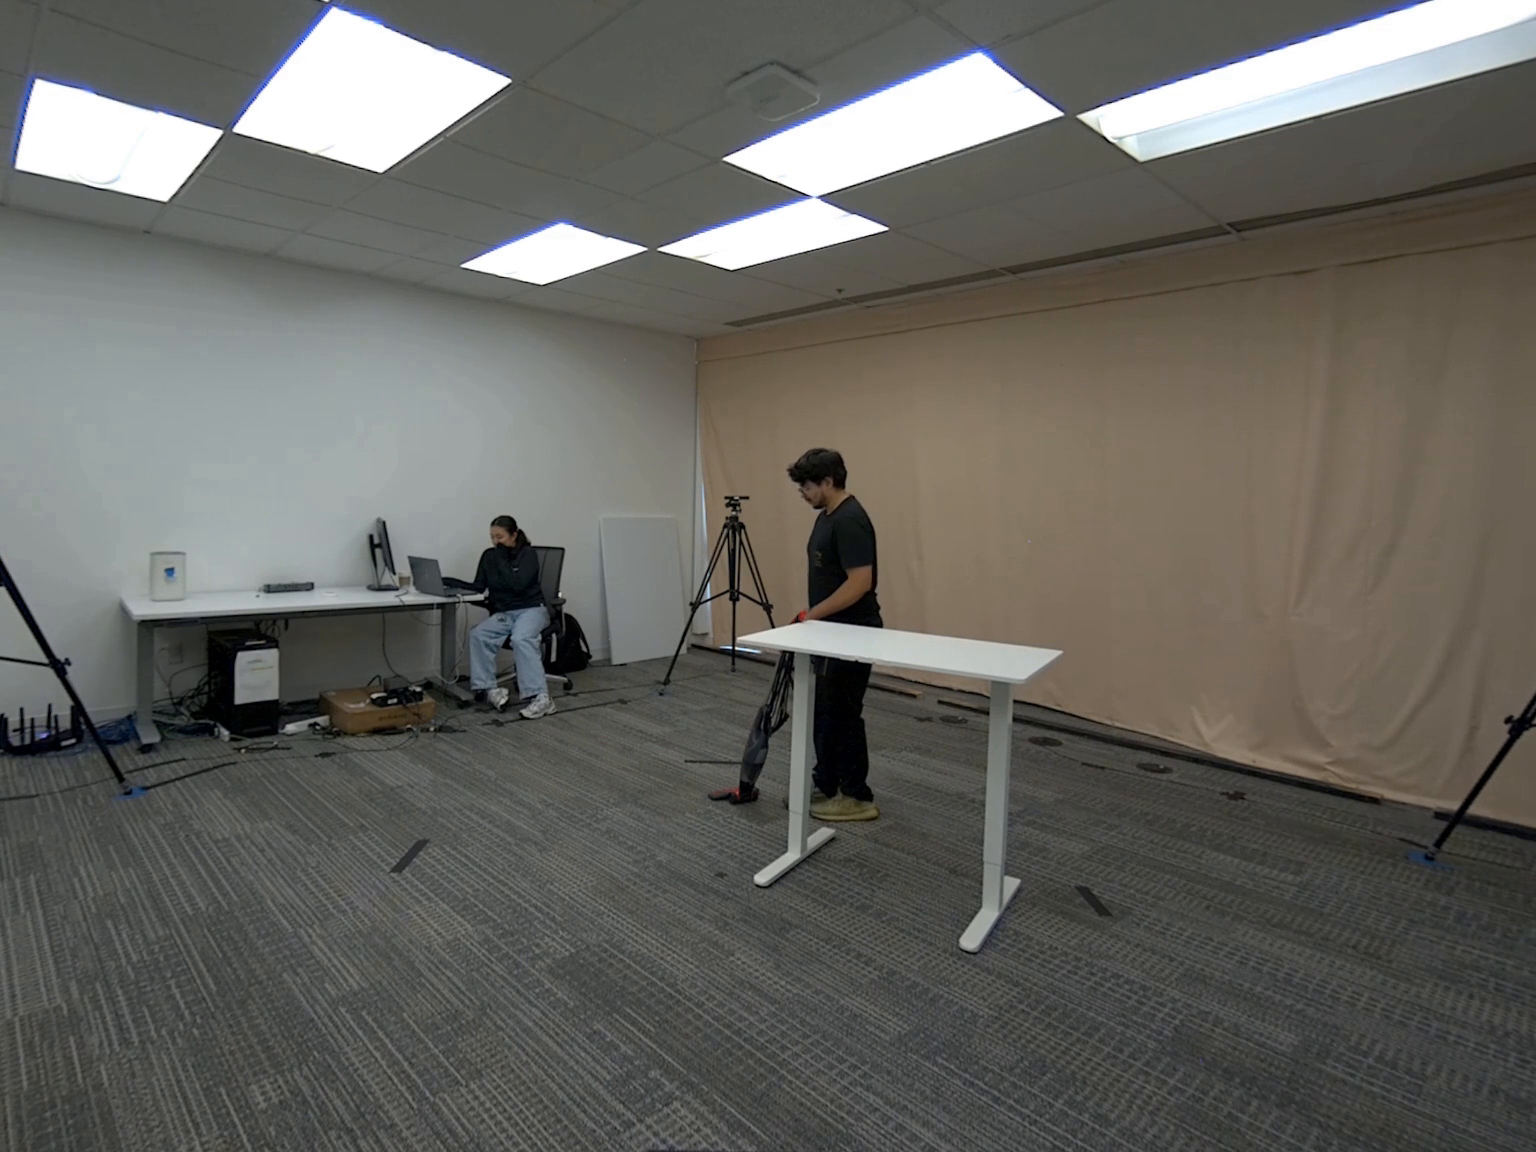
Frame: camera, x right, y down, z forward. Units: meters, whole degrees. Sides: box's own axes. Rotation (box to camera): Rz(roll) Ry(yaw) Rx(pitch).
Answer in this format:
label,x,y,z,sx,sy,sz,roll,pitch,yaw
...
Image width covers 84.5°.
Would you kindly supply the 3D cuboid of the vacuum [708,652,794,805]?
label,x,y,z,sx,sy,sz,roll,pitch,yaw
vacuum,-0.001,0.588,3.663,0.247,1.038,0.148,-6,37,-40
